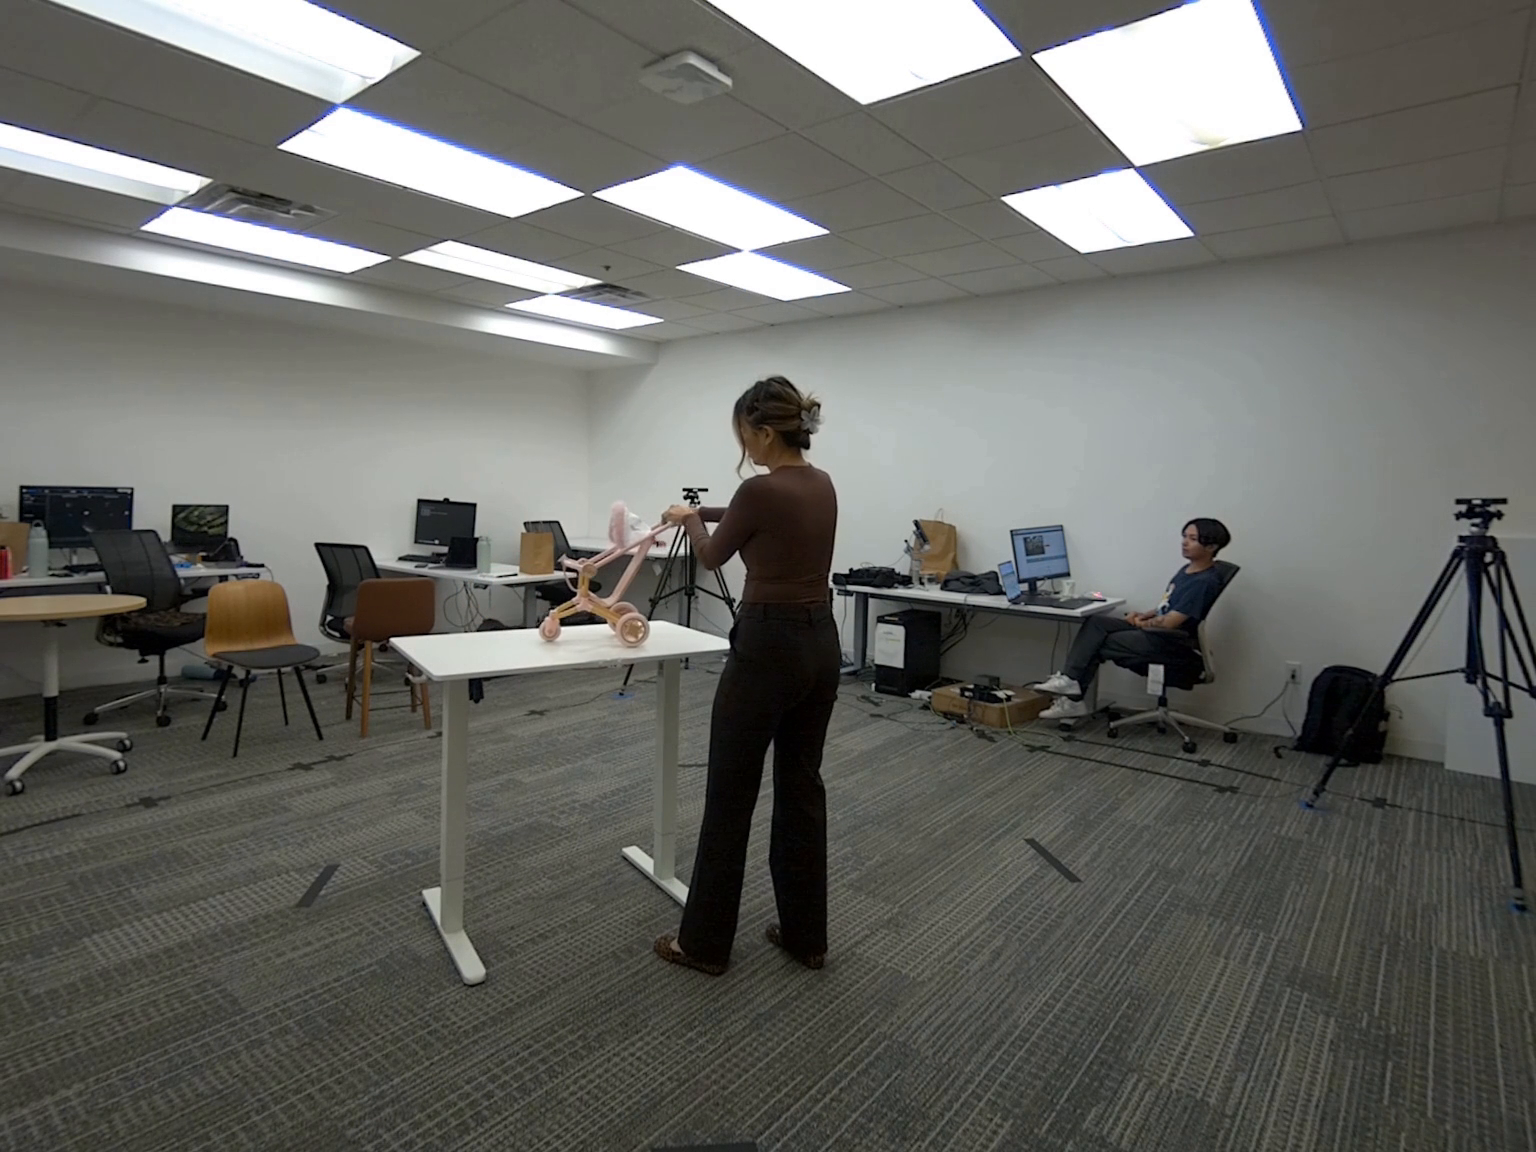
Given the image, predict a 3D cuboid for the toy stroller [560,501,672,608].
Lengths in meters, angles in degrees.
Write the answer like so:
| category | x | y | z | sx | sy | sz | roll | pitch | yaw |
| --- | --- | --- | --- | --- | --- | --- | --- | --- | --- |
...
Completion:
| category | x | y | z | sx | sy | sz | roll | pitch | yaw |
| --- | --- | --- | --- | --- | --- | --- | --- | --- | --- |
| toy stroller | -0.542 | -0.006 | 2.803 | 0.337 | 0.535 | 0.285 | 15 | -1 | -12 |
